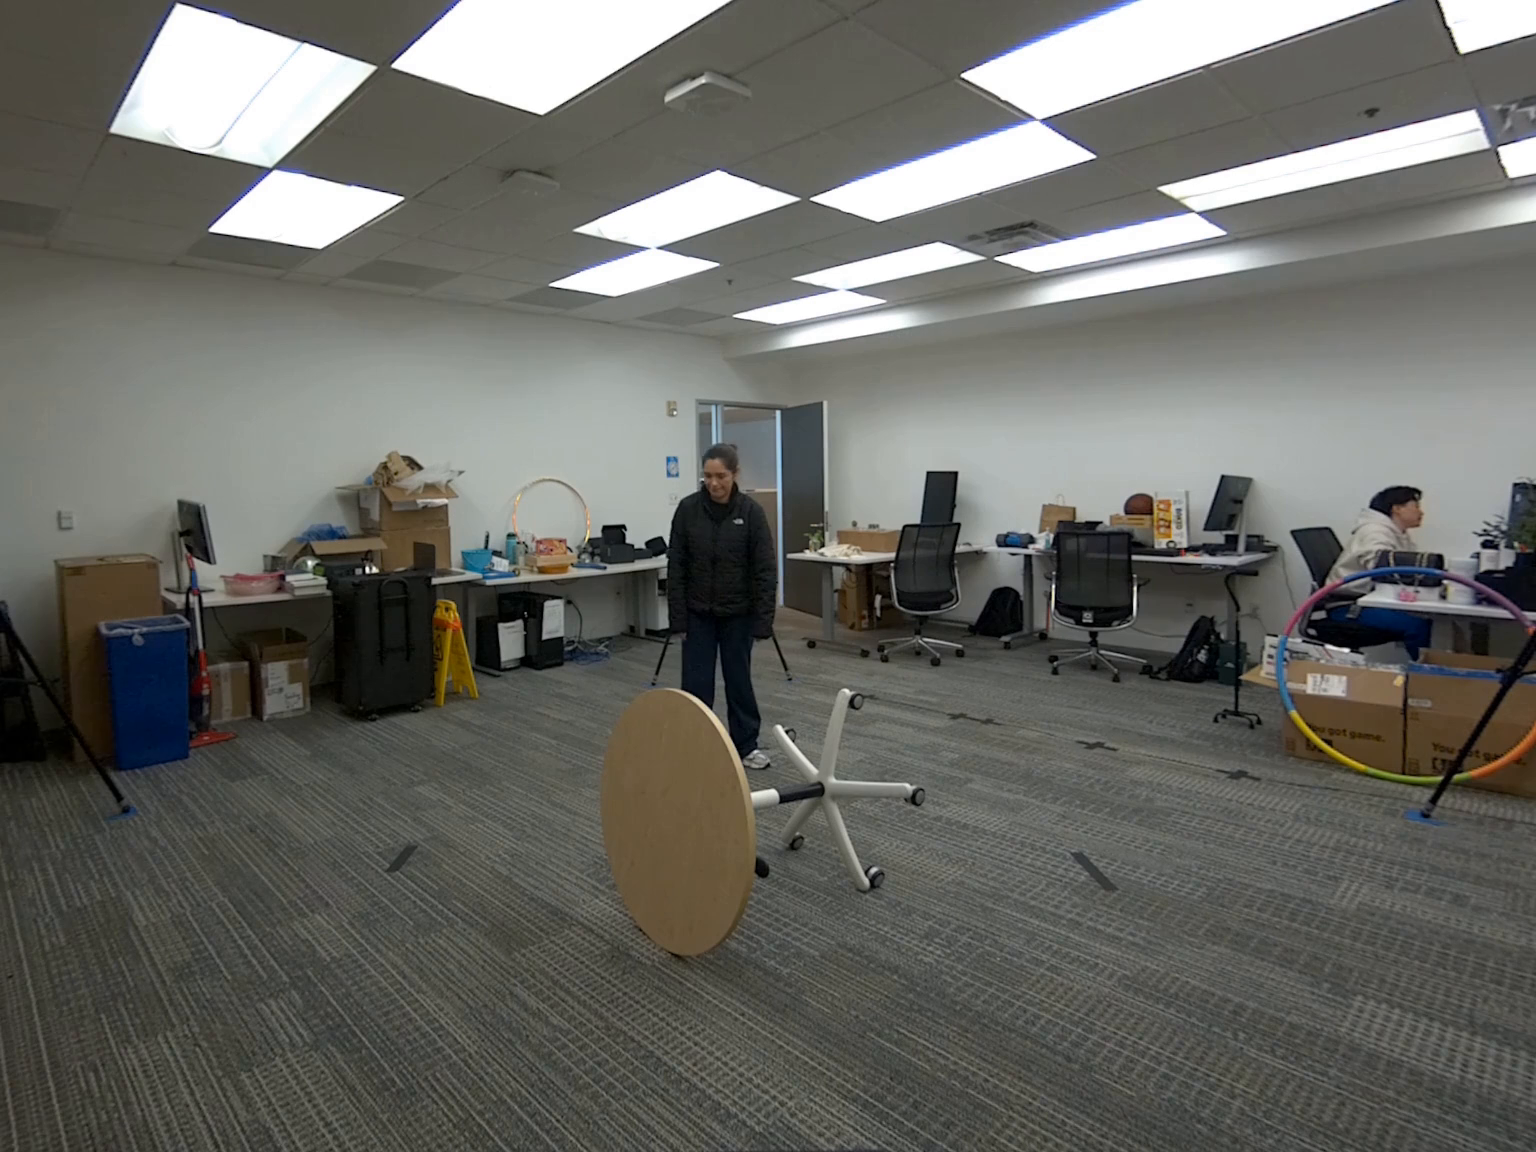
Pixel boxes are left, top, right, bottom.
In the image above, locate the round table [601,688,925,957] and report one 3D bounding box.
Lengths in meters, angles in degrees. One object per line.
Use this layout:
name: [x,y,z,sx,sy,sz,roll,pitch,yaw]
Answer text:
round table: [-0.010,0.741,2.833,0.763,0.784,0.809,2,2,-40]
